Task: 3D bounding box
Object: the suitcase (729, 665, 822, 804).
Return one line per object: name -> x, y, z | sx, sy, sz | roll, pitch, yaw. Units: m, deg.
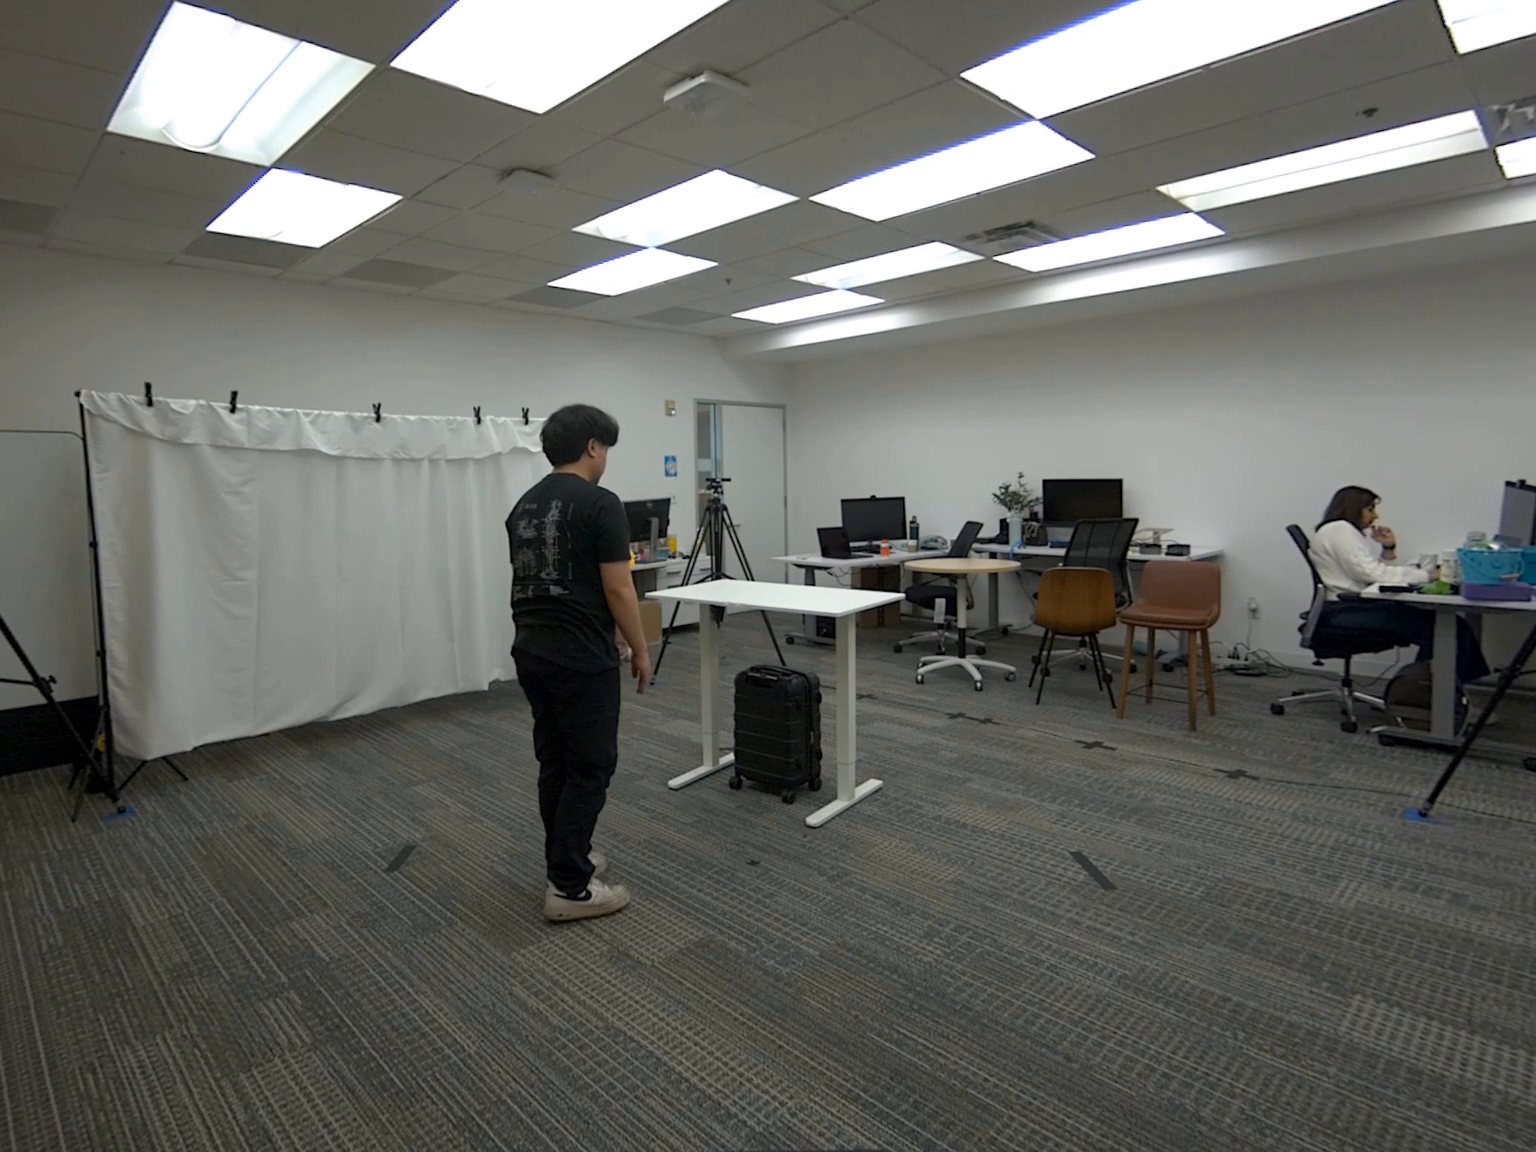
suitcase -> 0.045, 0.690, 3.852 | 0.387, 0.548, 0.241 | 5, 3, 37
